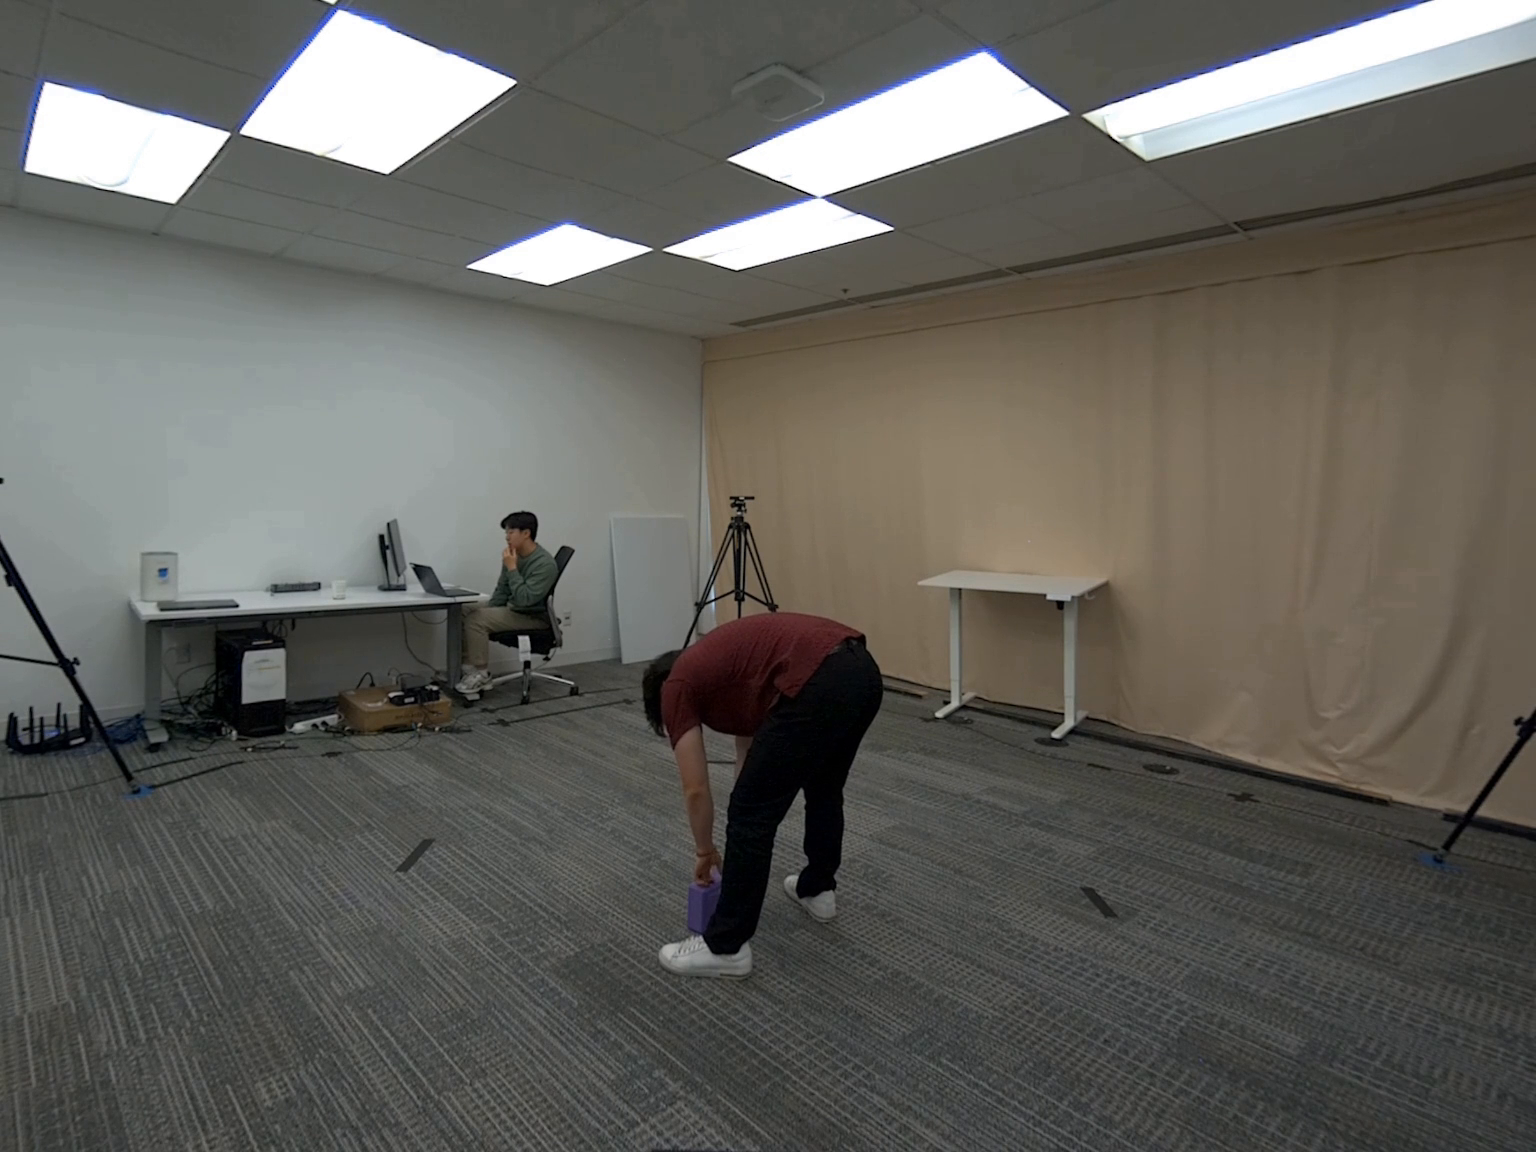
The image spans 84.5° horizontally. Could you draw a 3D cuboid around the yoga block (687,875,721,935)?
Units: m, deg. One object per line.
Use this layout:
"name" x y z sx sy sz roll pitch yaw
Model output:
"yoga block" -0.166 1.059 2.771 0.078 0.148 0.224 6 6 35
